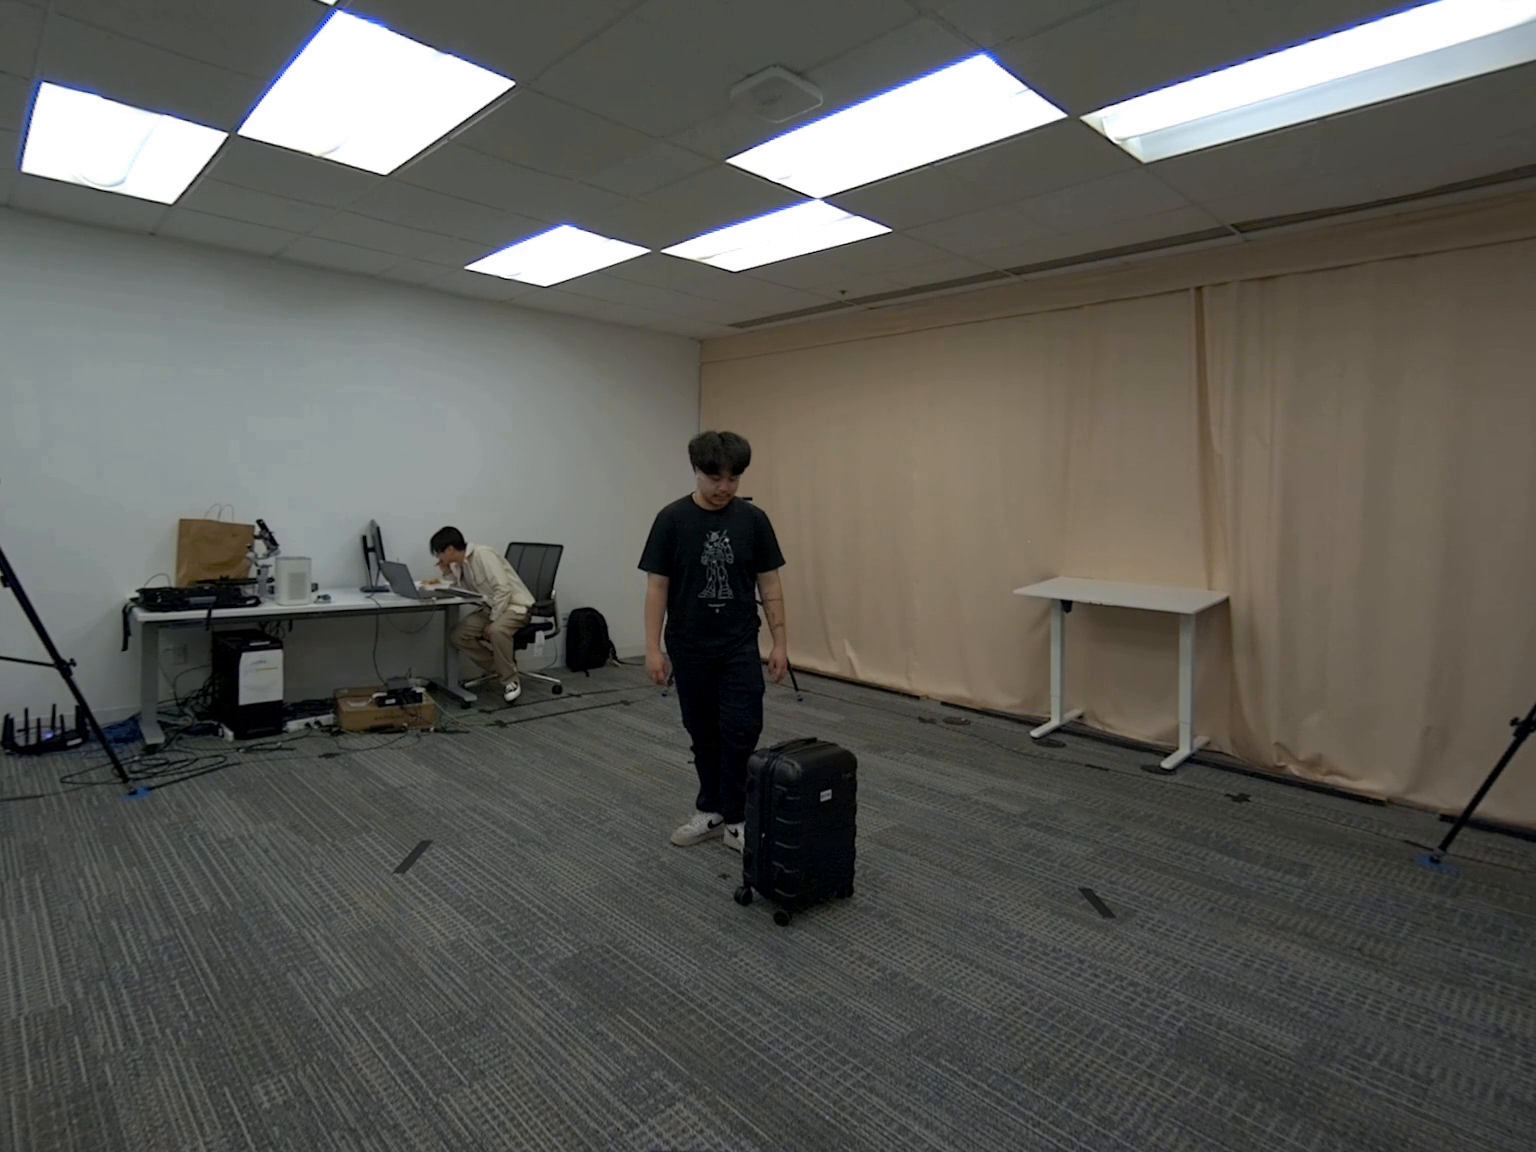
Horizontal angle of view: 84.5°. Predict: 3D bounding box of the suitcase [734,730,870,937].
[{"bbox_3d":[0.117,0.860,2.914,0.367,0.547,0.255,-2,6,-43],"label":"suitcase"}]
